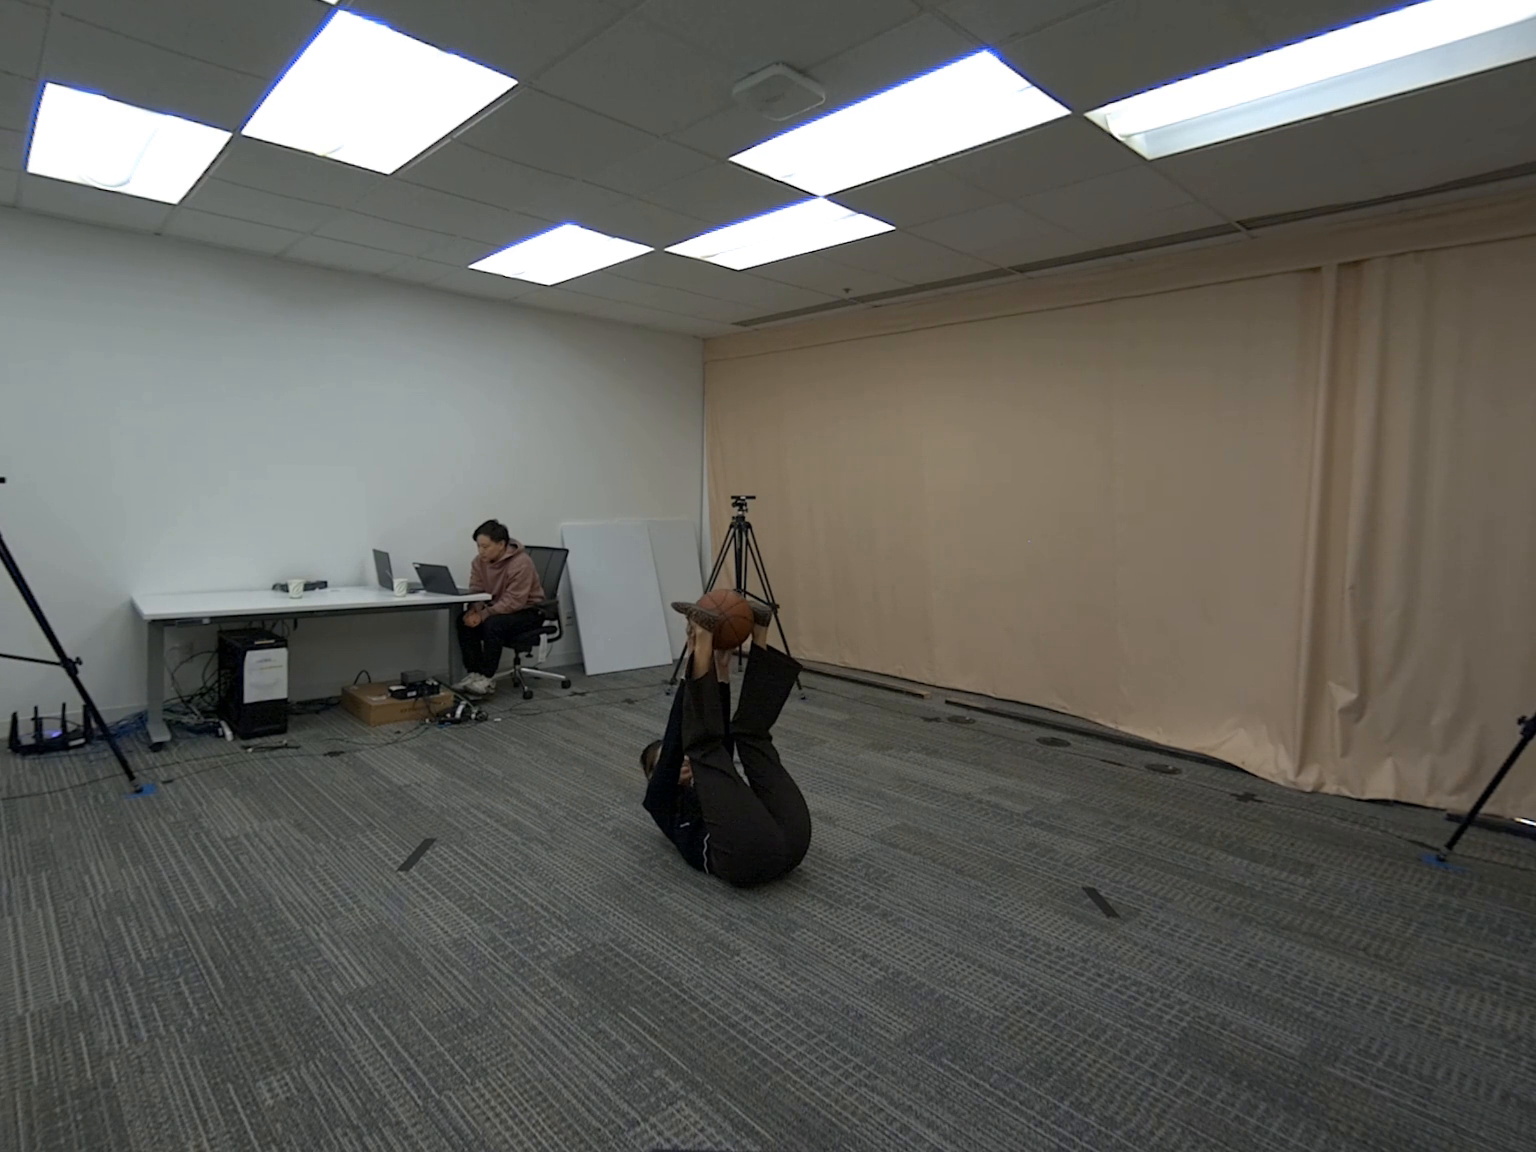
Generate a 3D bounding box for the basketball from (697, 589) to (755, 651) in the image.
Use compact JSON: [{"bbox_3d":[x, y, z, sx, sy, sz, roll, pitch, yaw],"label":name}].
[{"bbox_3d":[-0.178,0.165,3.209,0.236,0.235,0.237,1,4,-1],"label":"basketball"}]
